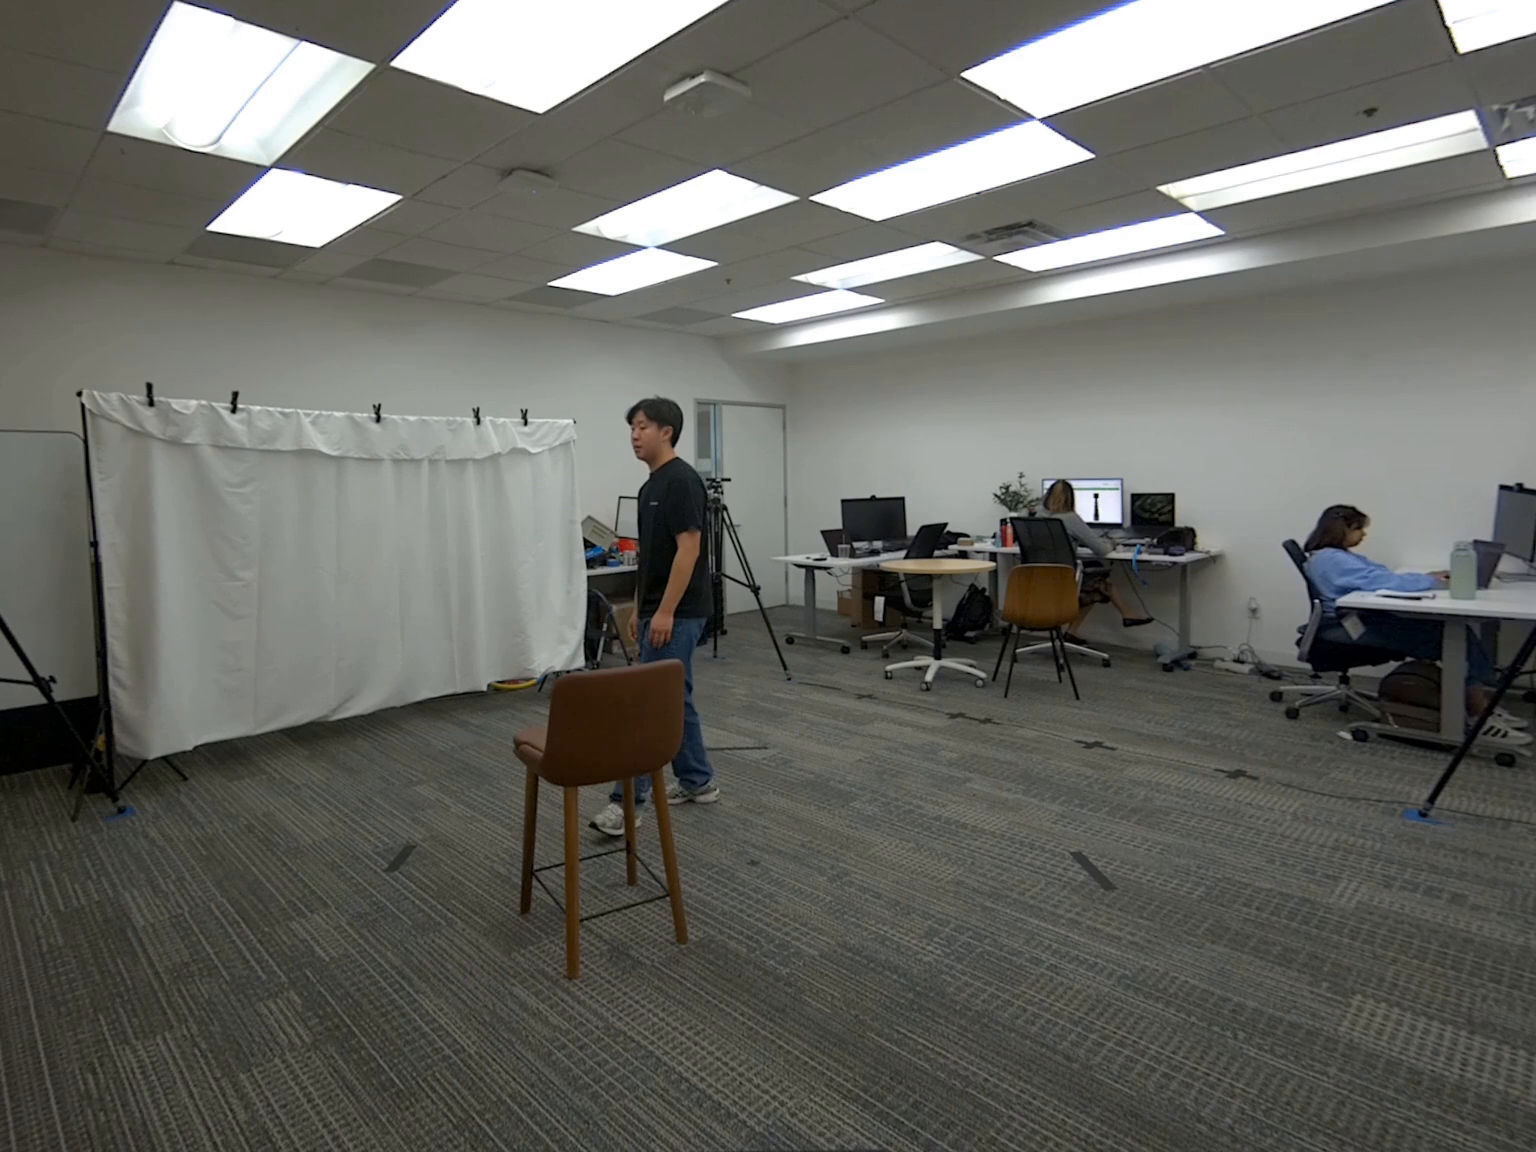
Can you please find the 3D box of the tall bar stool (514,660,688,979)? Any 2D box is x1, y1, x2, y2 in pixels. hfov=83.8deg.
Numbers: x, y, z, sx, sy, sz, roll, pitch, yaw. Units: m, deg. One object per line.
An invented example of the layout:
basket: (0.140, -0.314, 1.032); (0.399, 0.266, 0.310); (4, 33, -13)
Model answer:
tall bar stool: (-0.526, 0.672, 2.655); (0.446, 0.885, 0.481); (-4, 7, -31)
